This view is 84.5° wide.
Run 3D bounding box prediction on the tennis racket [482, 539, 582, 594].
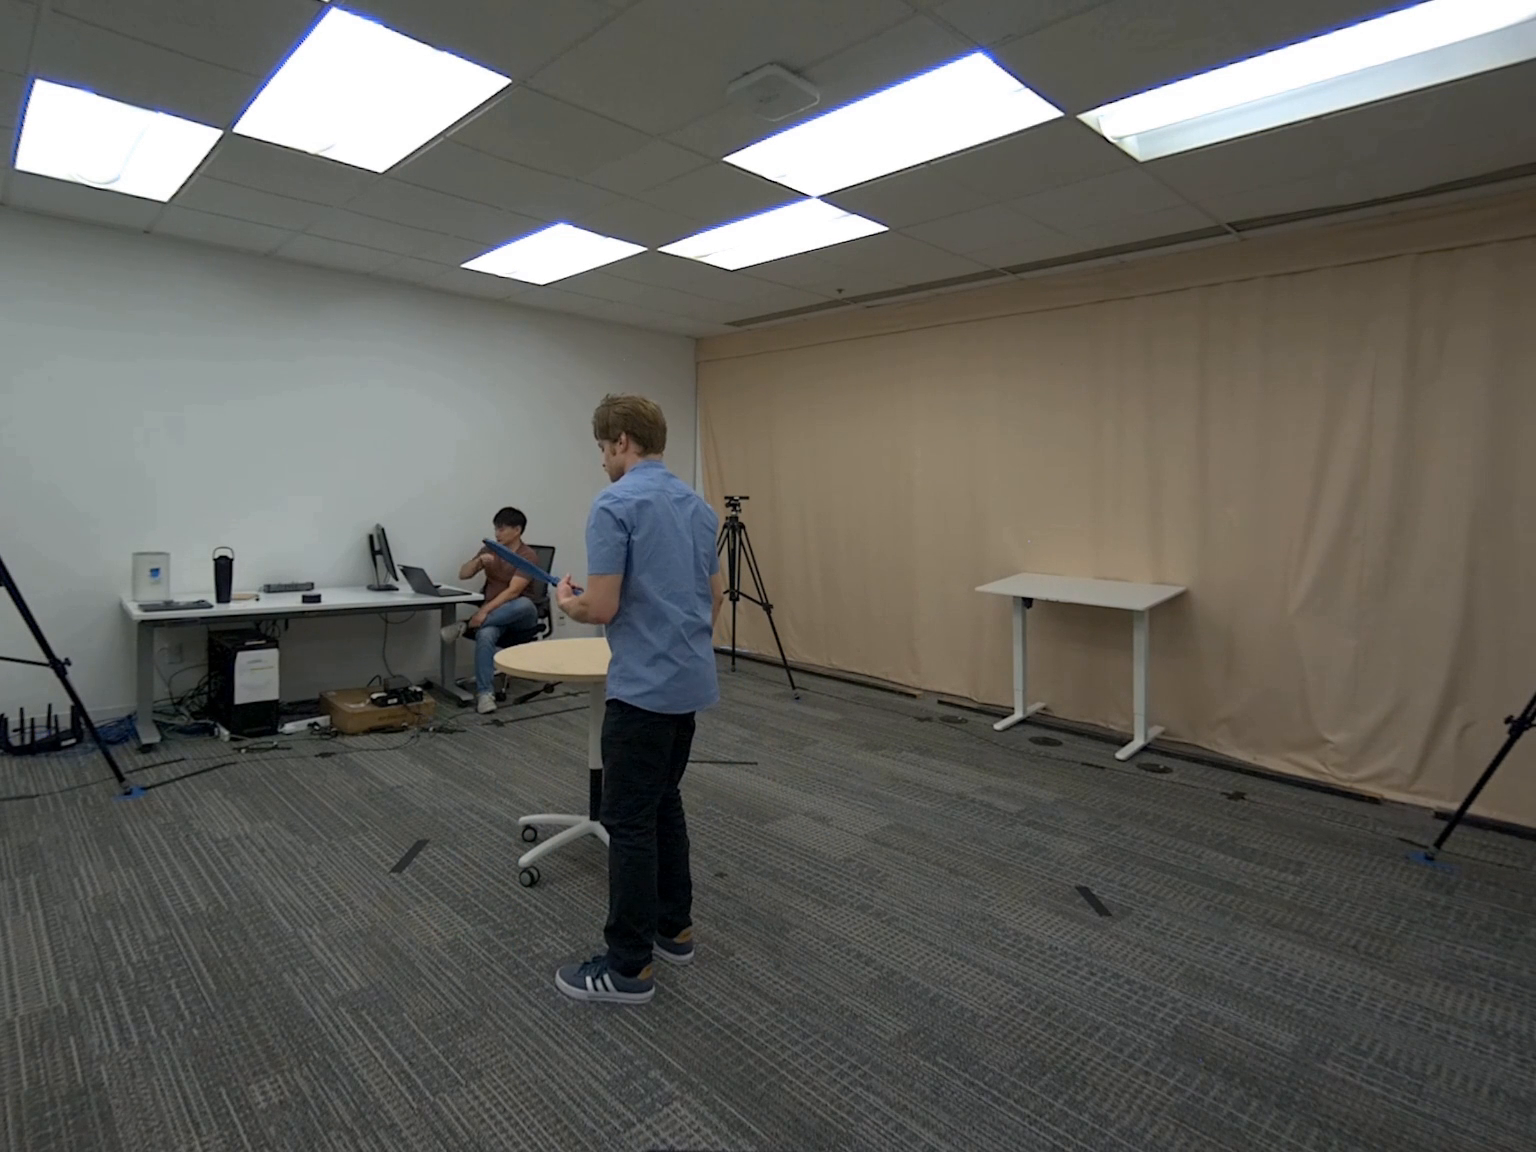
[{"bbox_3d":[-0.738,-0.009,2.657,0.443,0.032,0.208,26,-16,24],"label":"tennis racket"}]
